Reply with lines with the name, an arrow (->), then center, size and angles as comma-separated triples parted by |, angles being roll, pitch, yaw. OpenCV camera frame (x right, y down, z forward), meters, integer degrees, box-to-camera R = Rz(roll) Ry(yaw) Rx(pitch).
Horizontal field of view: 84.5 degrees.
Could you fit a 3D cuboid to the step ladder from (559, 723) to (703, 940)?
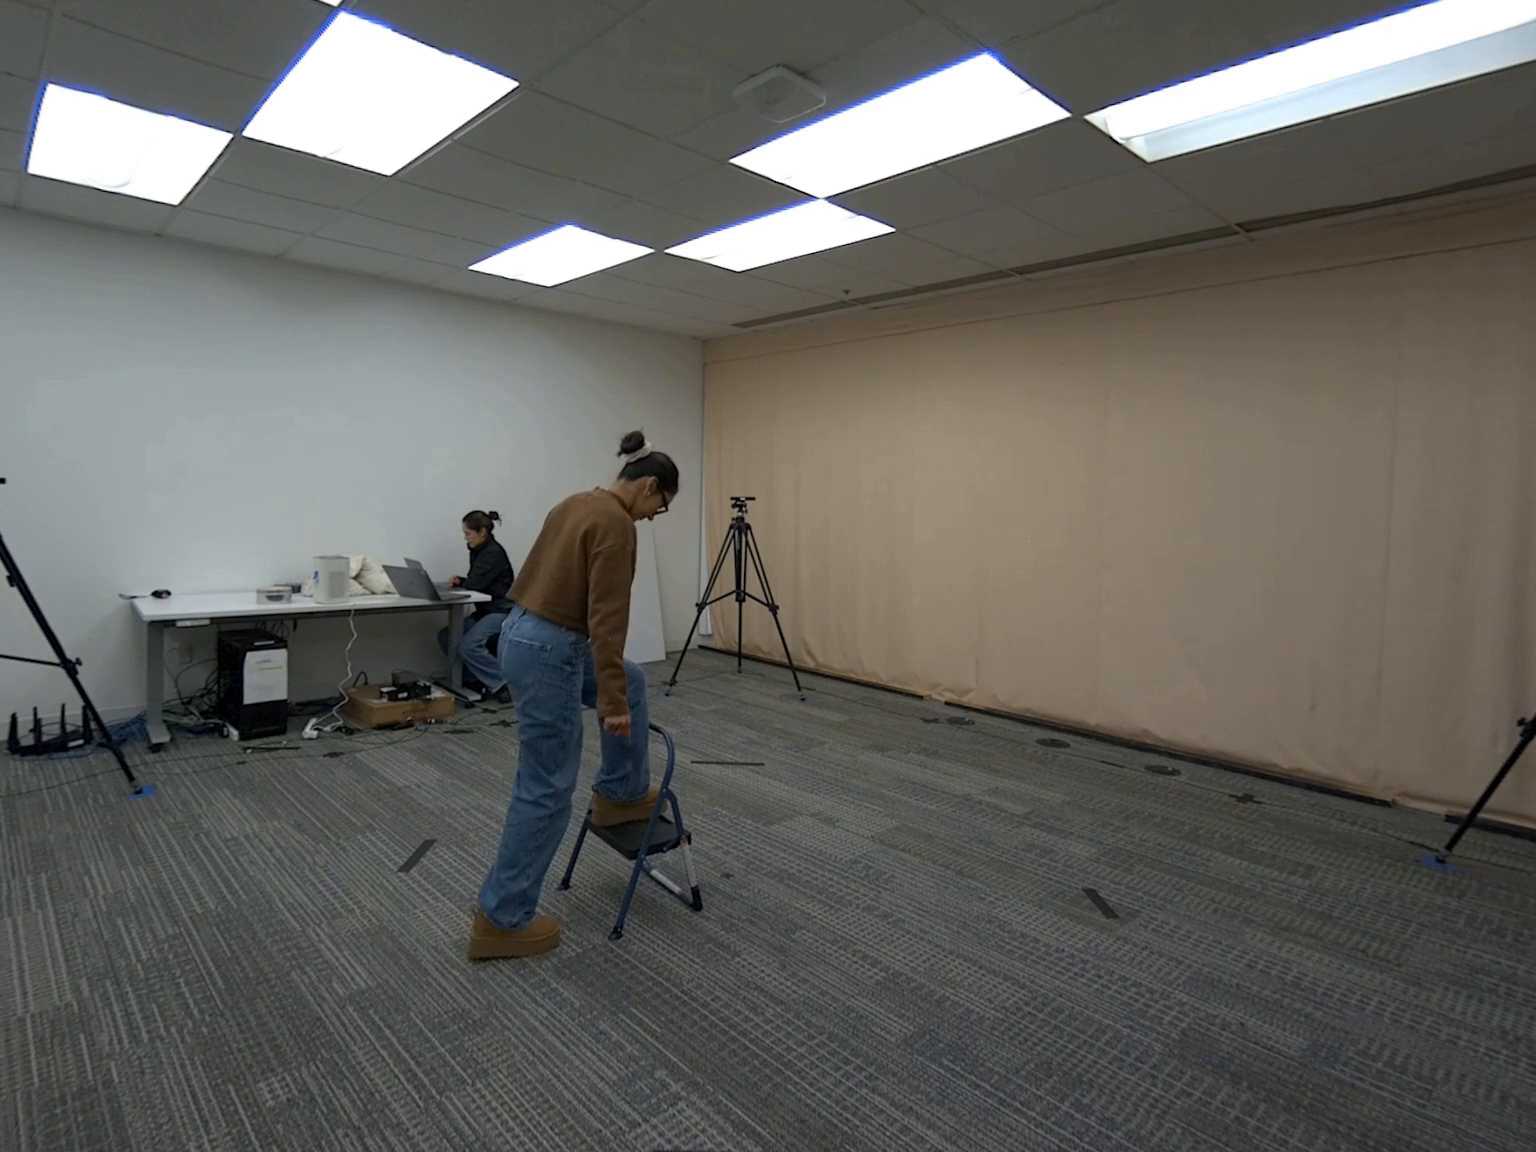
step ladder -> -0.474, 0.819, 2.888 | 0.341, 0.605, 0.441 | -1, 4, -37
